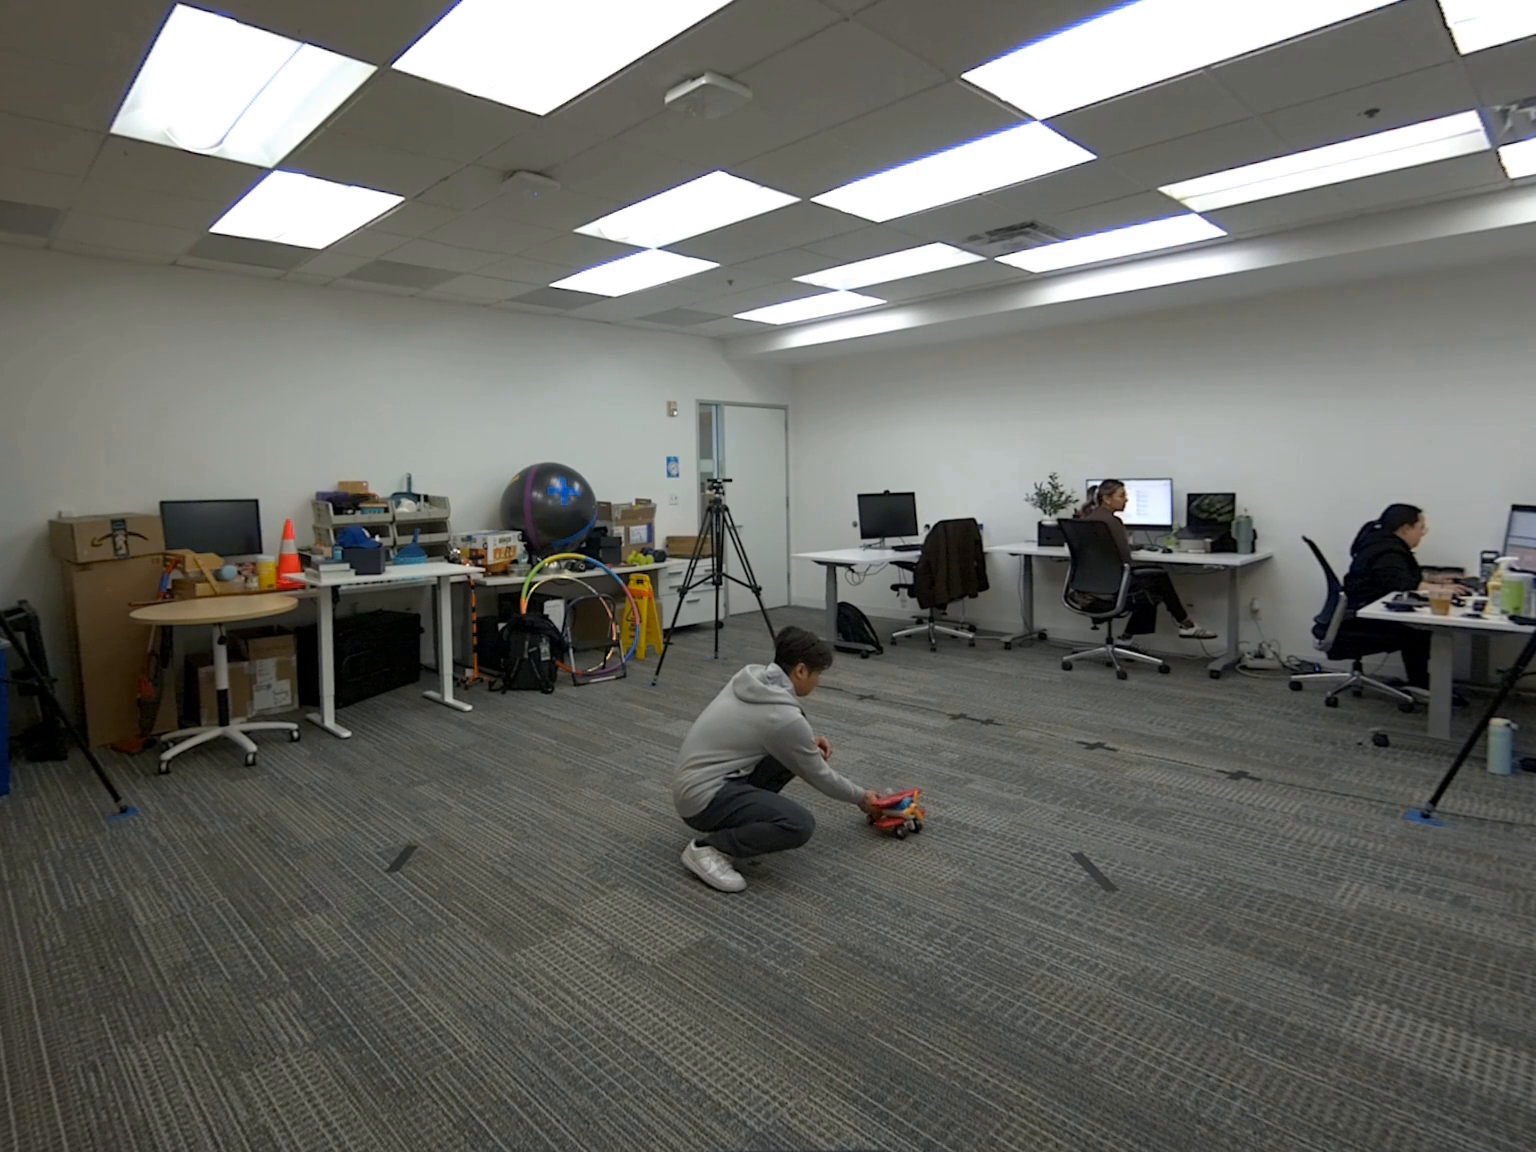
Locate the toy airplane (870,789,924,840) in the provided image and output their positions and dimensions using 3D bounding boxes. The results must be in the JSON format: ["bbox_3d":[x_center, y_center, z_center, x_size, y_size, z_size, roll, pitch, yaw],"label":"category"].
[{"bbox_3d":[0.472,0.925,3.371,0.265,0.156,0.247,3,6,23],"label":"toy airplane"}]
